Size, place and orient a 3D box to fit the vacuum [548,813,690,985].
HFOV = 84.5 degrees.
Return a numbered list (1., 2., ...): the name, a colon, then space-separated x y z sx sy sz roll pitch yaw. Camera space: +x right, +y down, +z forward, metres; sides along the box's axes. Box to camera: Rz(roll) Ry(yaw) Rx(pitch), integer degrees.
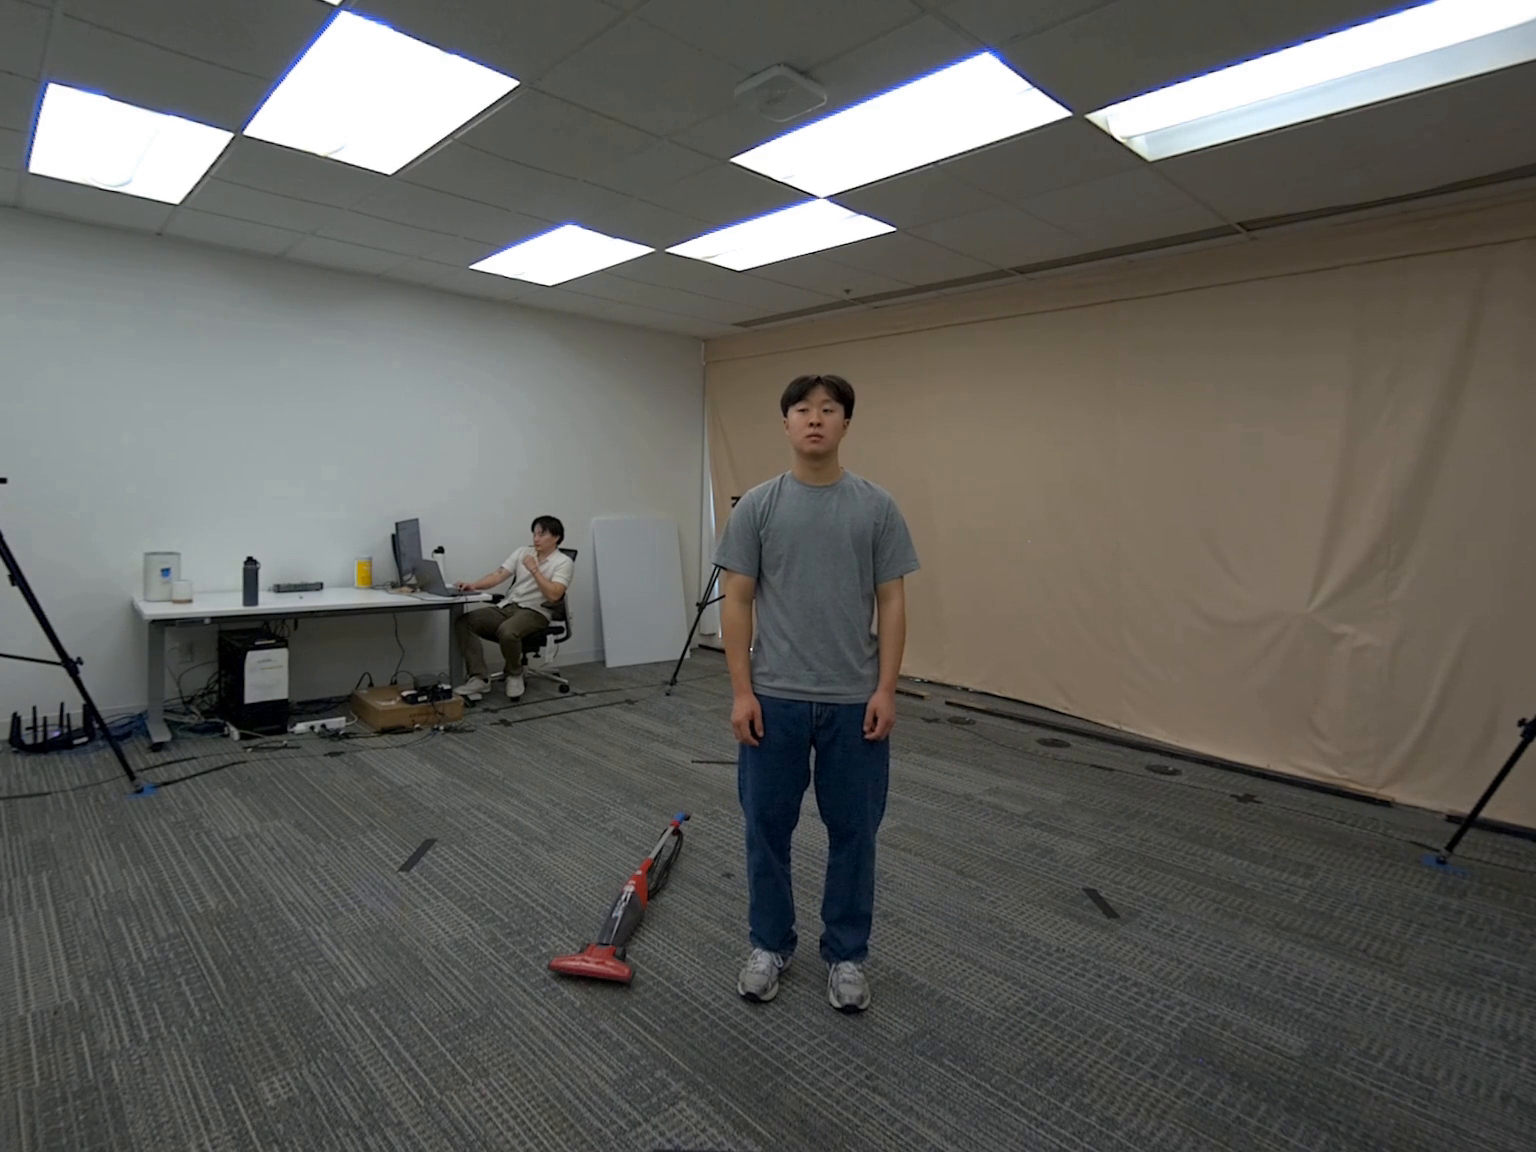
1. vacuum: -0.416 1.050 2.983 0.254 0.143 1.045 -3 6 9
